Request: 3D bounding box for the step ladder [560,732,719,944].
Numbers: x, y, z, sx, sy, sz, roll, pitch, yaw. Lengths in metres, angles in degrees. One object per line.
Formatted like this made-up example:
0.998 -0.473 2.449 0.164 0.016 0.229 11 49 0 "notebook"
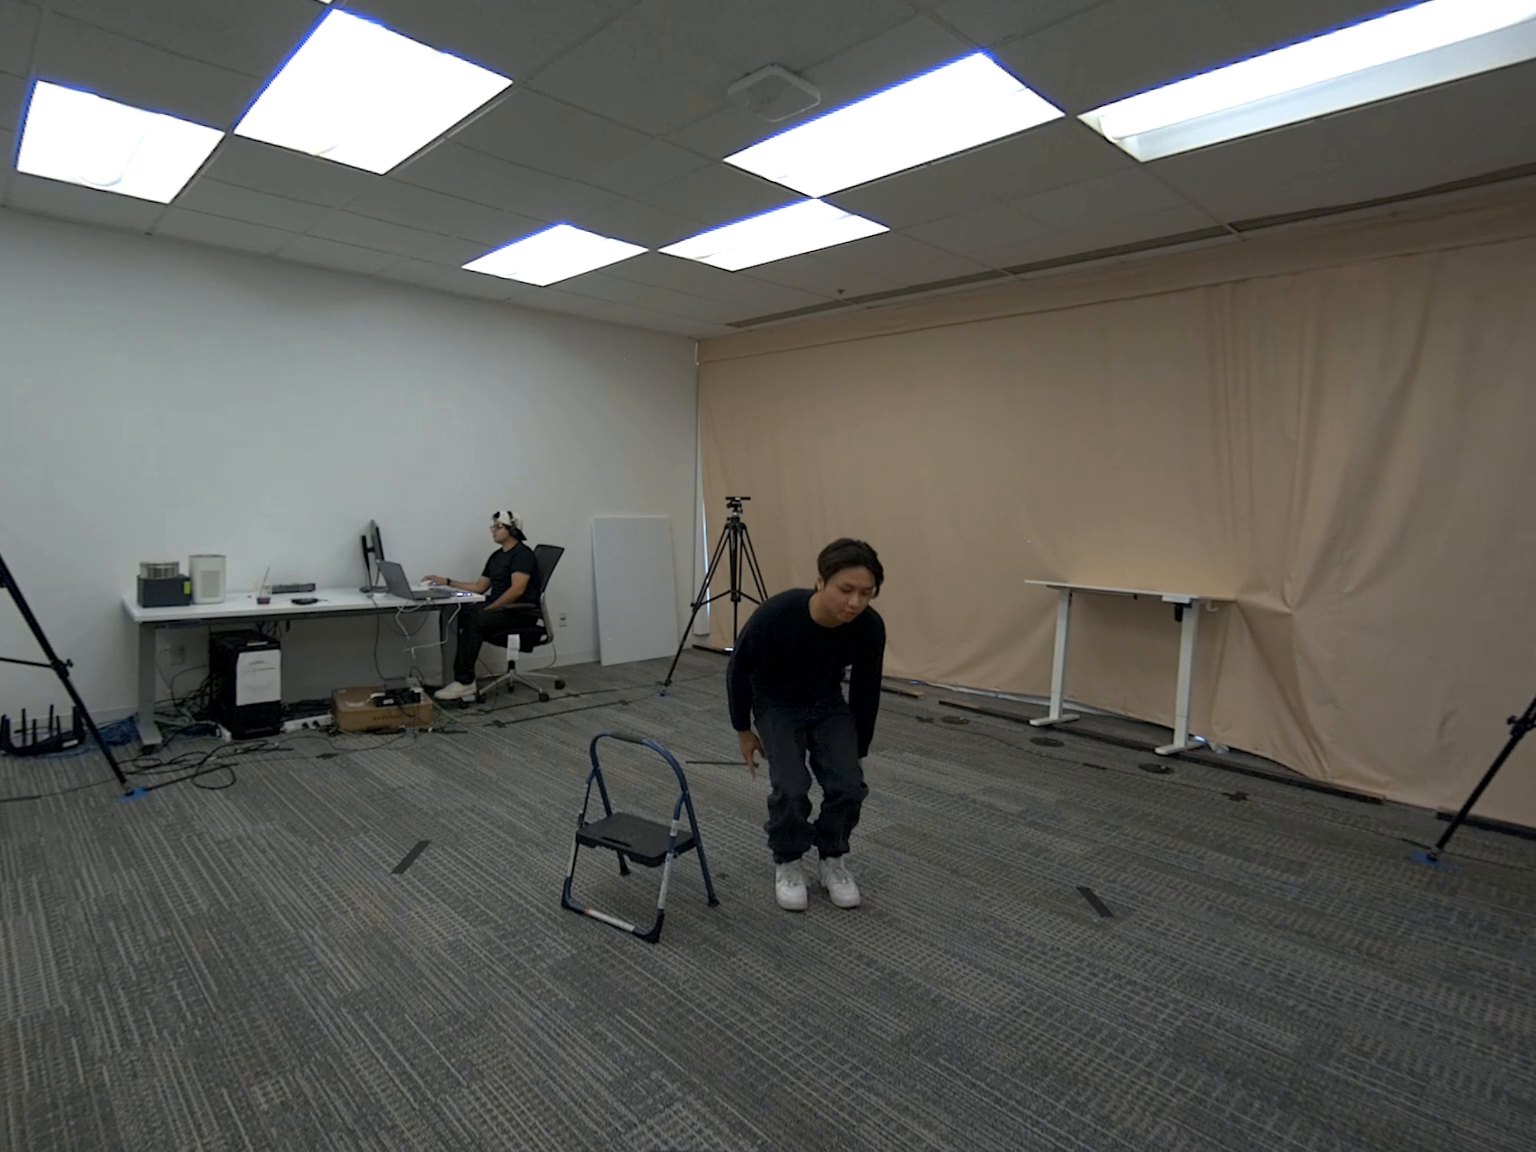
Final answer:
-0.436 0.820 2.850 0.440 0.605 0.342 3 4 32 "step ladder"
